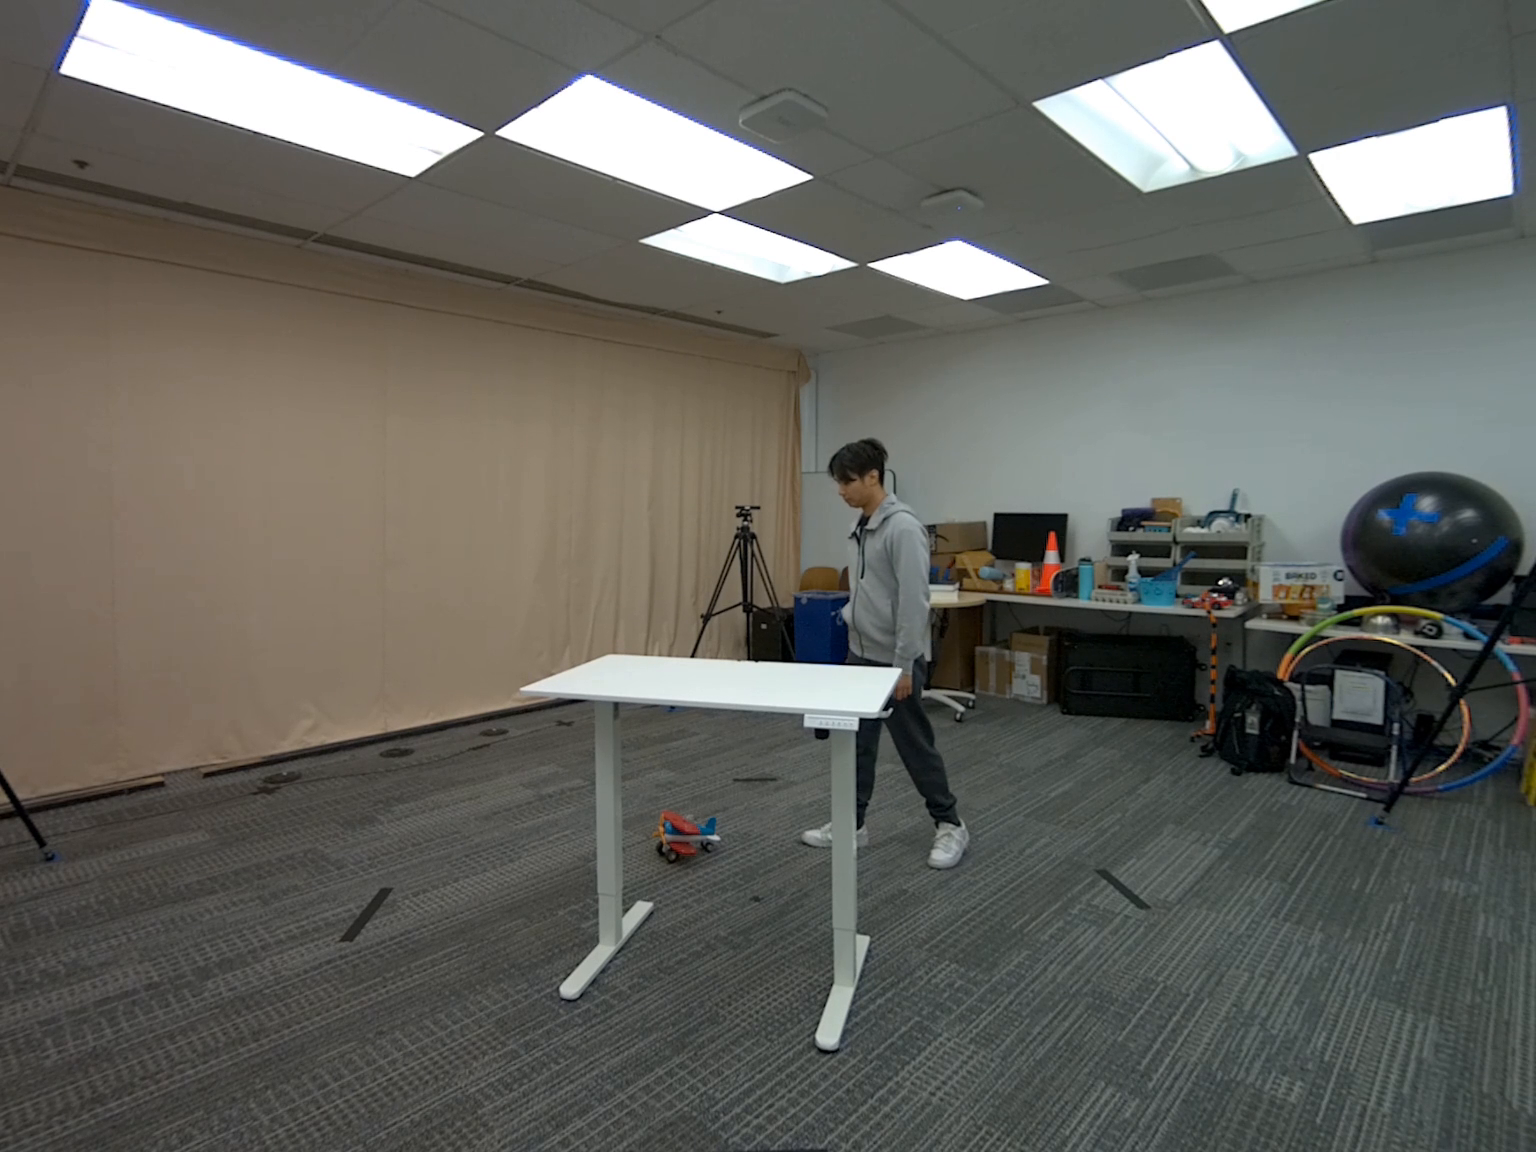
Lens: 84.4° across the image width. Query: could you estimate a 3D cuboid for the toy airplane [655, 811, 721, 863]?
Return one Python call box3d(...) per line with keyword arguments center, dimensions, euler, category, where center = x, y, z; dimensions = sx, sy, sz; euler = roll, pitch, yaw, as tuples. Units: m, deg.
box3d(center=(-0.336, 1.040, 3.384), dimensions=(0.259, 0.156, 0.252), euler=(1, 7, 32), category="toy airplane")
